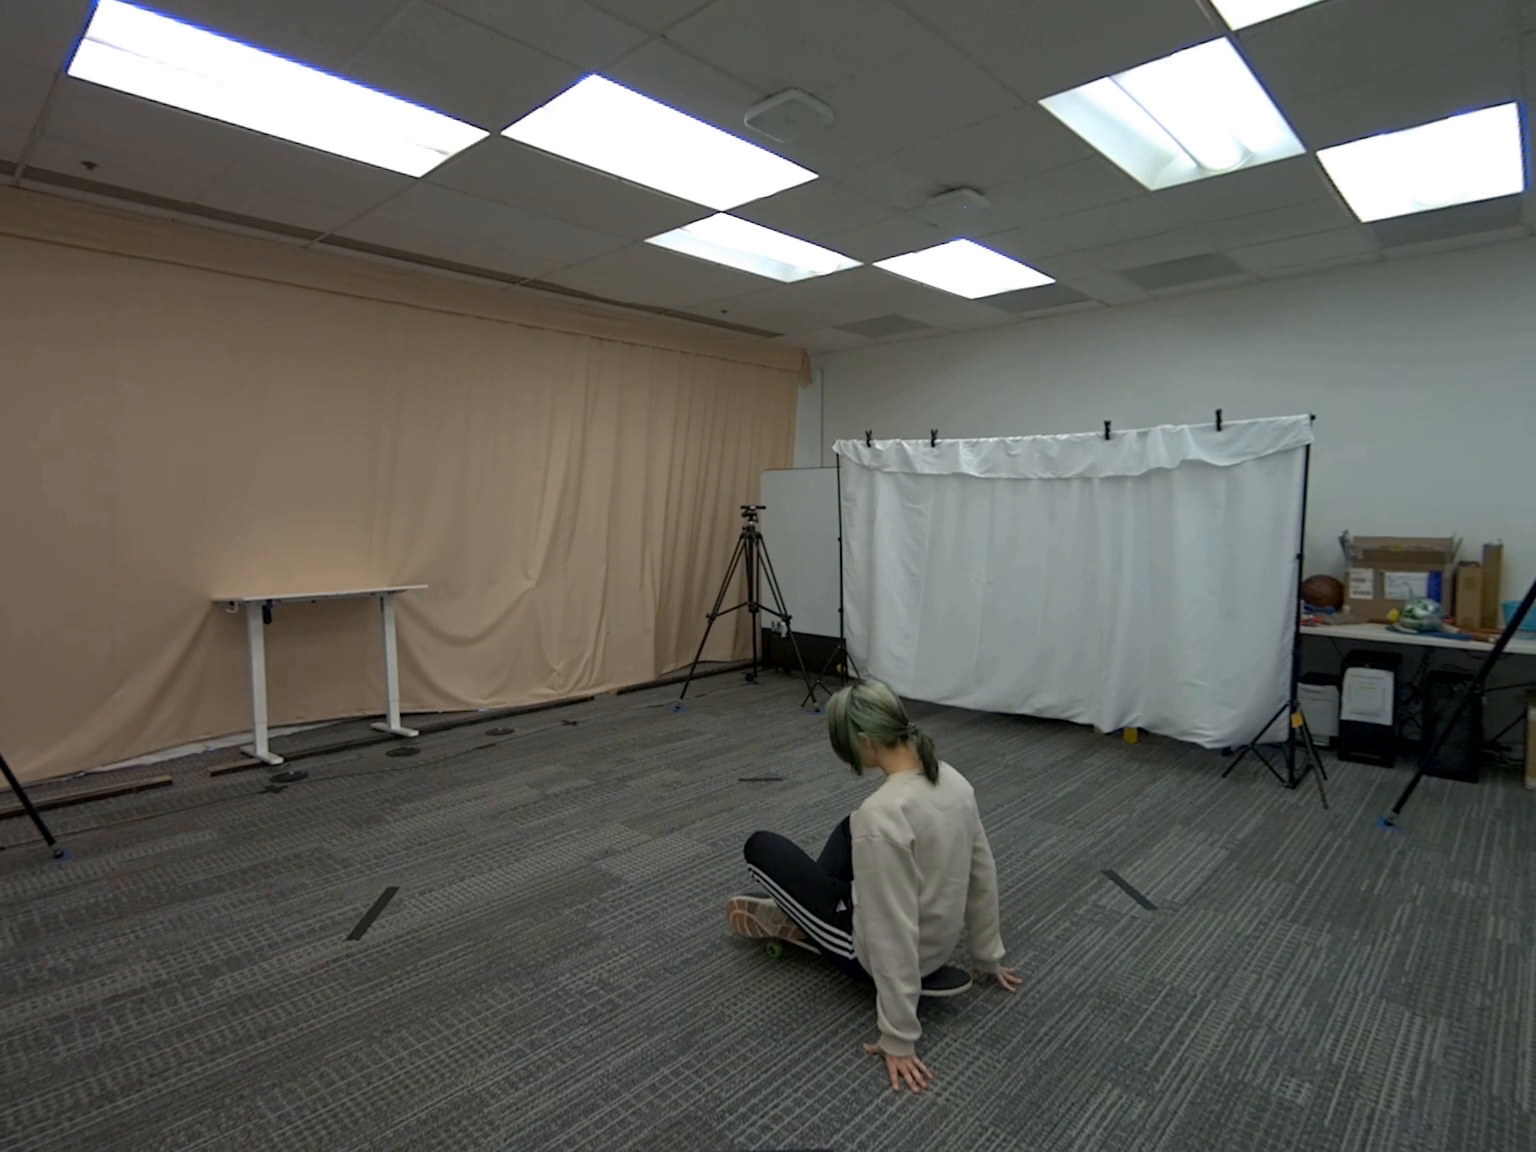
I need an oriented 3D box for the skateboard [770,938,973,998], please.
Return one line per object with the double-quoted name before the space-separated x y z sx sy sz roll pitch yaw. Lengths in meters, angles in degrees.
"skateboard" 0.244 1.143 2.526 0.812 0.110 0.188 5 8 42
